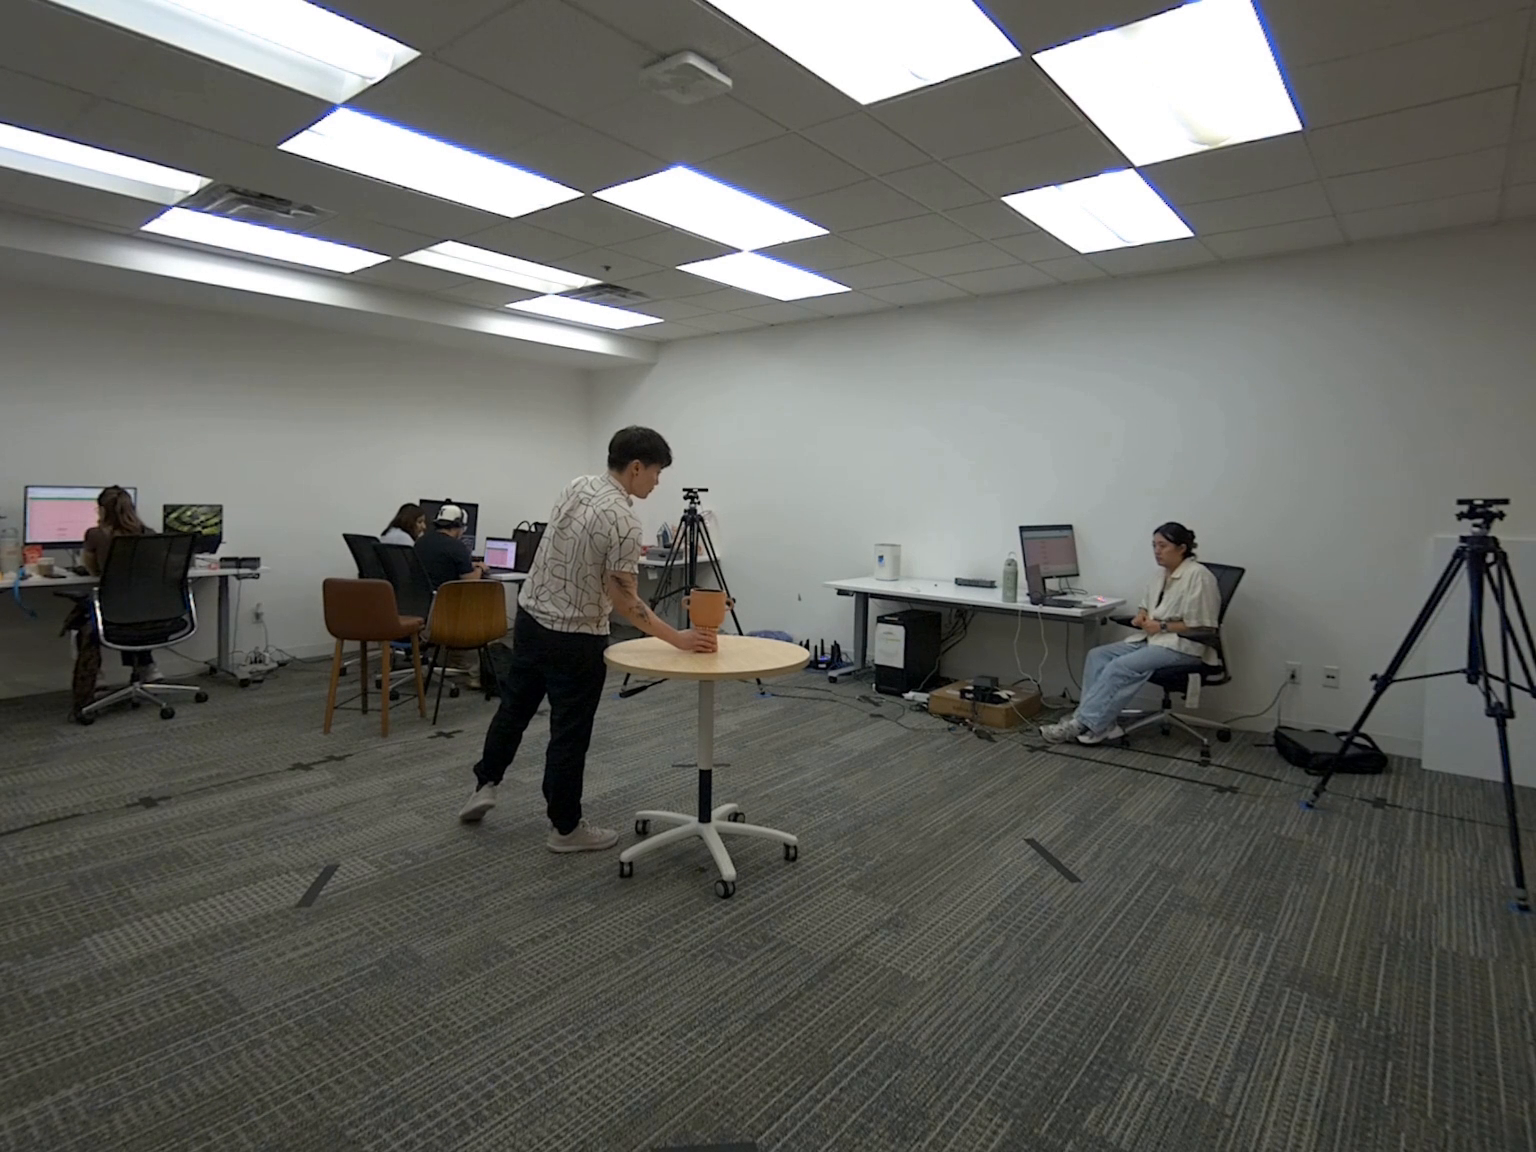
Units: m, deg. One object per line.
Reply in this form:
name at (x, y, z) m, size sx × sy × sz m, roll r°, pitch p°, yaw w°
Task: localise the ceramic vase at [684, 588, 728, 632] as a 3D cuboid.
ceramic vase at (-0.239, 0.157, 3.185) m, size 0.163 × 0.219 × 0.131 m, roll 4°, pitch 4°, yaw 29°
